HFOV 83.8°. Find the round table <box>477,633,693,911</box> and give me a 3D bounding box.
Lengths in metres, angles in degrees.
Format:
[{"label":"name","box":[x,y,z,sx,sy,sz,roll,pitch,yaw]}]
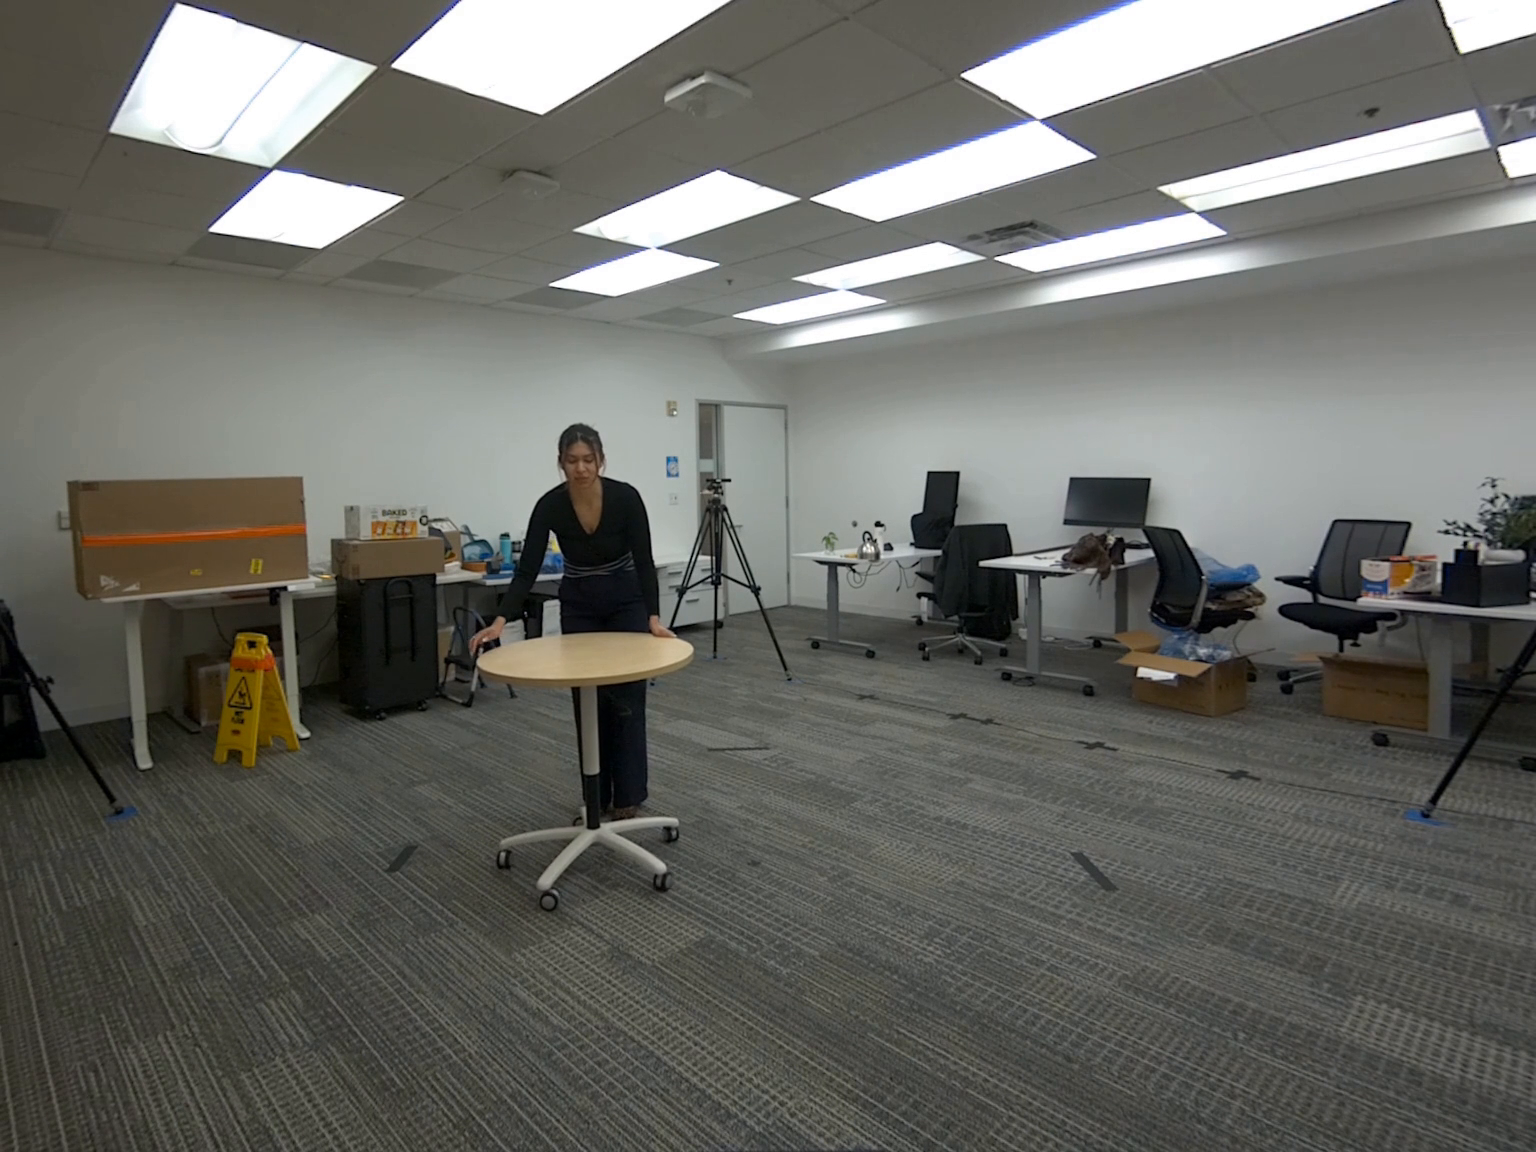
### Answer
[{"label":"round table","box":[-0.638,0.670,3.097,0.763,0.791,0.768,-2,5,-2]}]
